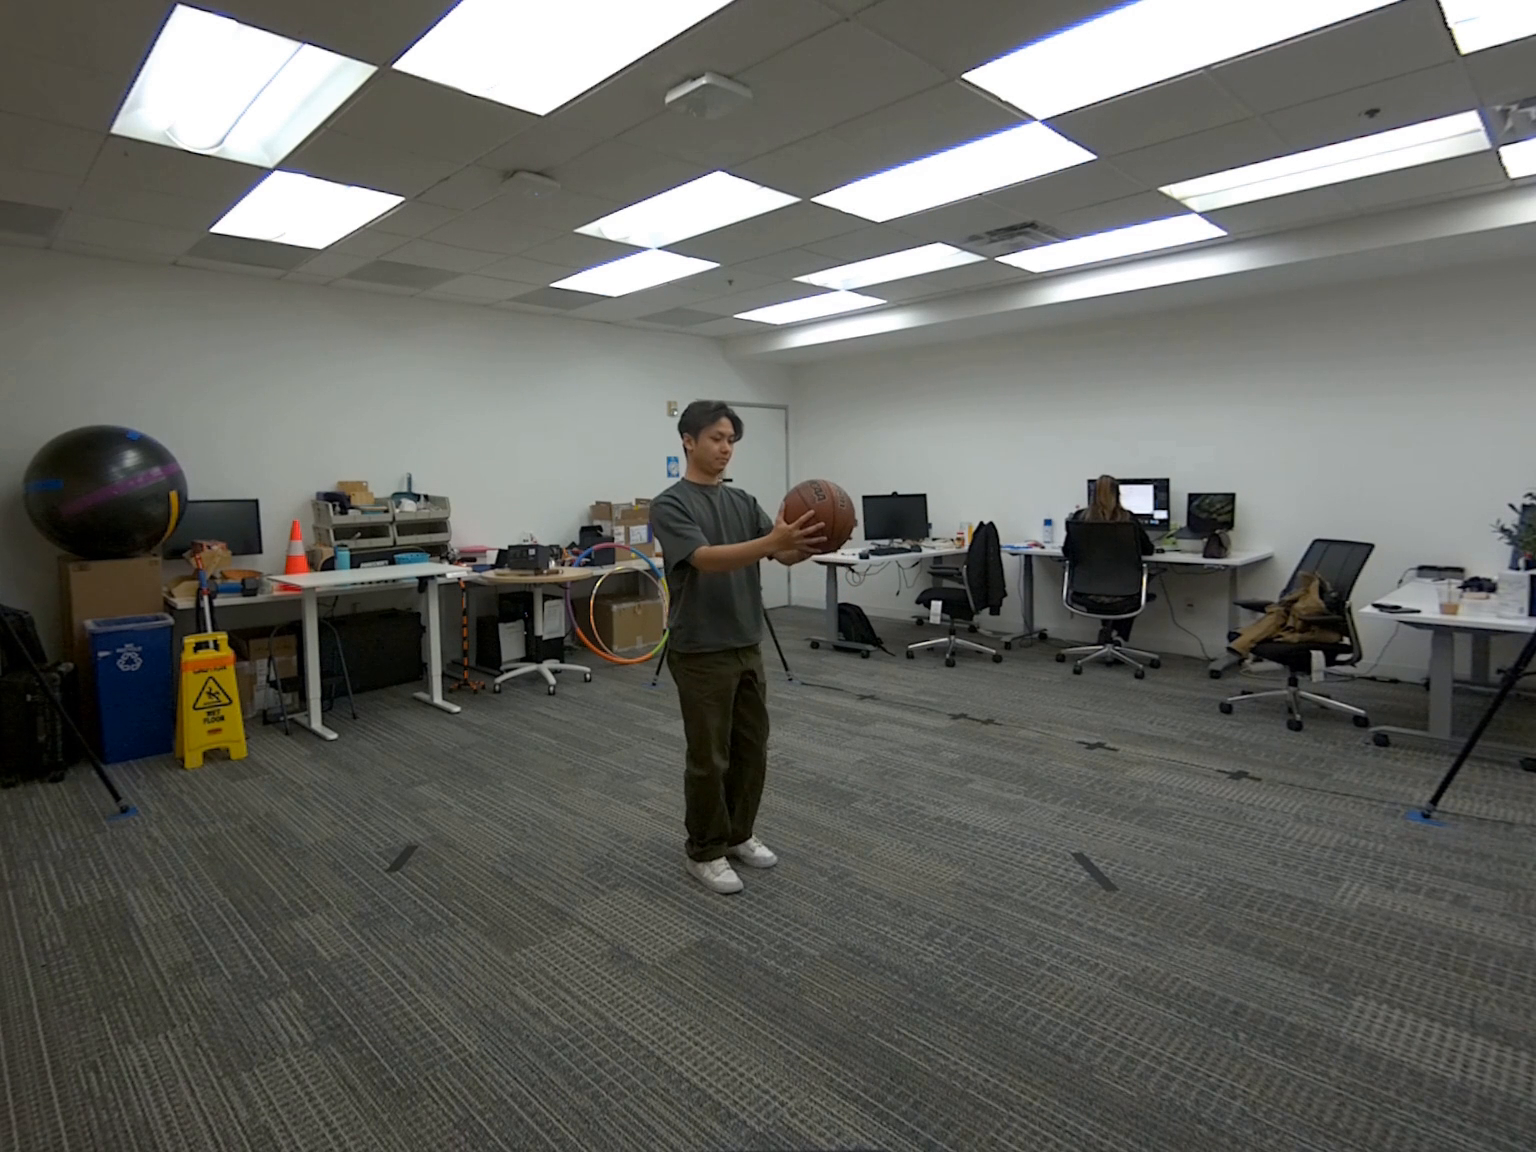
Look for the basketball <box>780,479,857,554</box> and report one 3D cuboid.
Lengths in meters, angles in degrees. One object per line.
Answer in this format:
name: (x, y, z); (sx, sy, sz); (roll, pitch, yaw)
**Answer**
basketball: (0.152, -0.174, 2.686); (0.236, 0.235, 0.237); (-1, 5, -2)
